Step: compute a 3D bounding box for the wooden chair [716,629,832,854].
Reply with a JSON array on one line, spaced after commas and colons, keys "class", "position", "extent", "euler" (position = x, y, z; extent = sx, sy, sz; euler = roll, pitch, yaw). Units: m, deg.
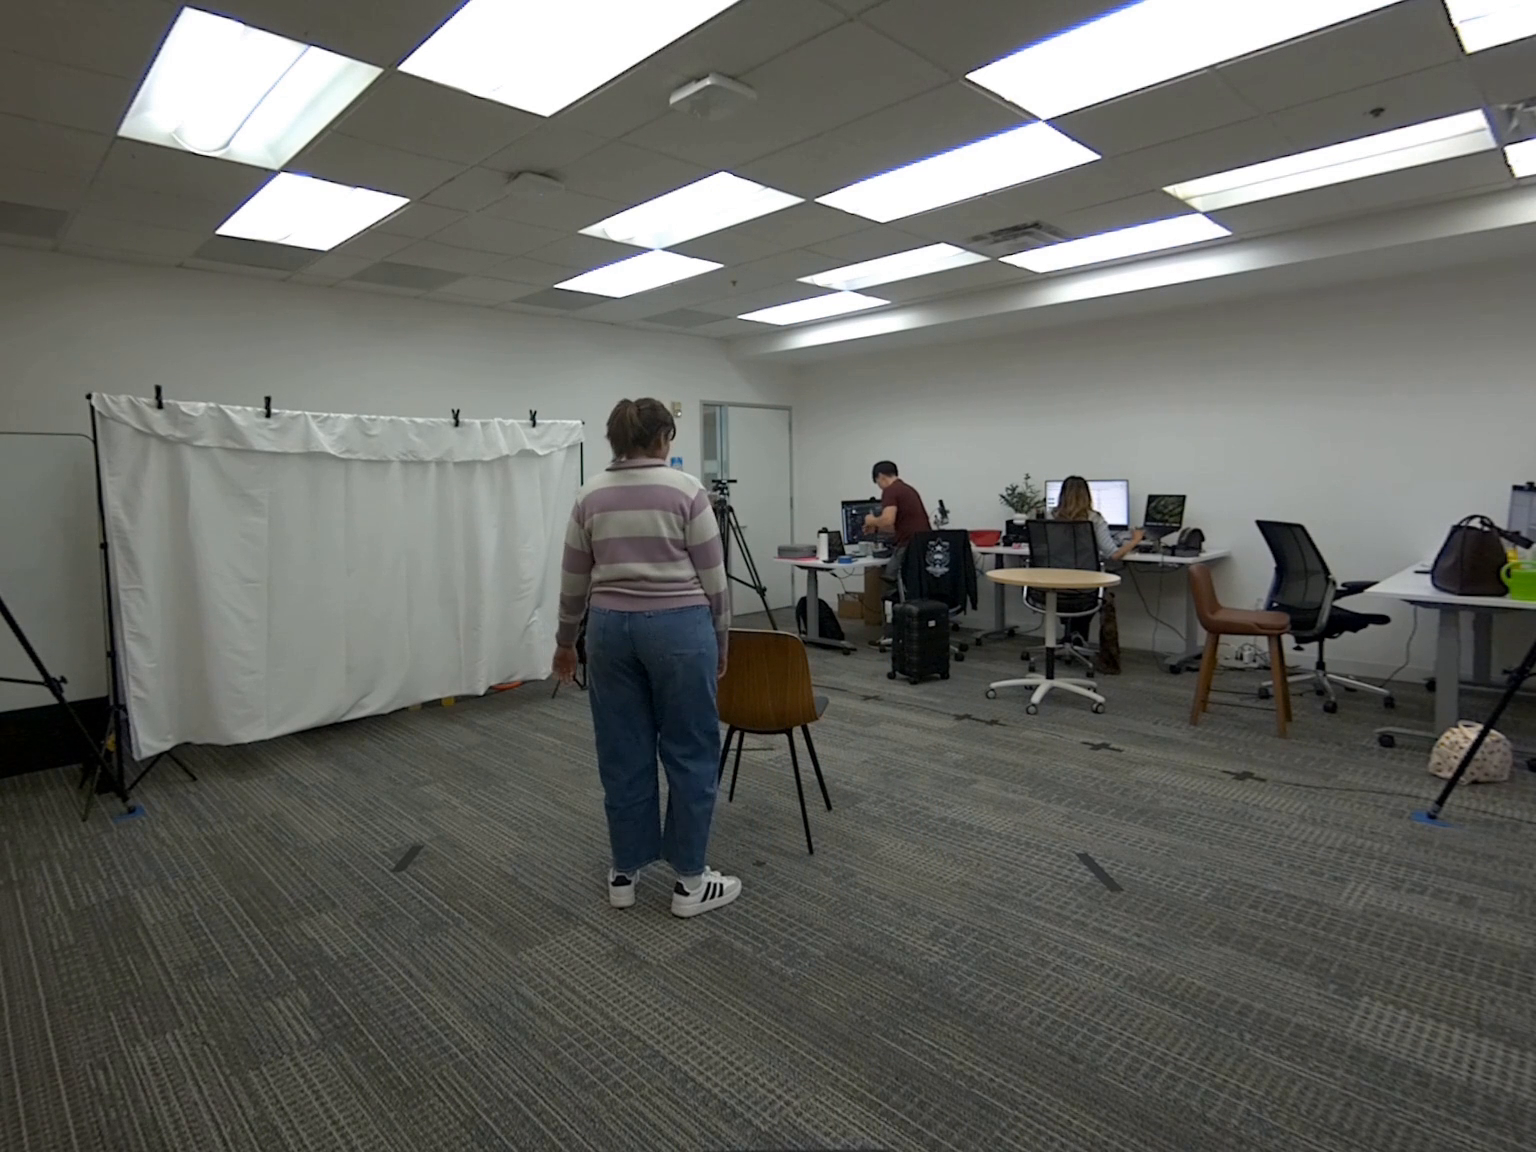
[{"class": "wooden chair", "position": [-0.002, 0.582, 3.428], "extent": [0.485, 0.871, 0.519], "euler": [0, 8, 15]}]
